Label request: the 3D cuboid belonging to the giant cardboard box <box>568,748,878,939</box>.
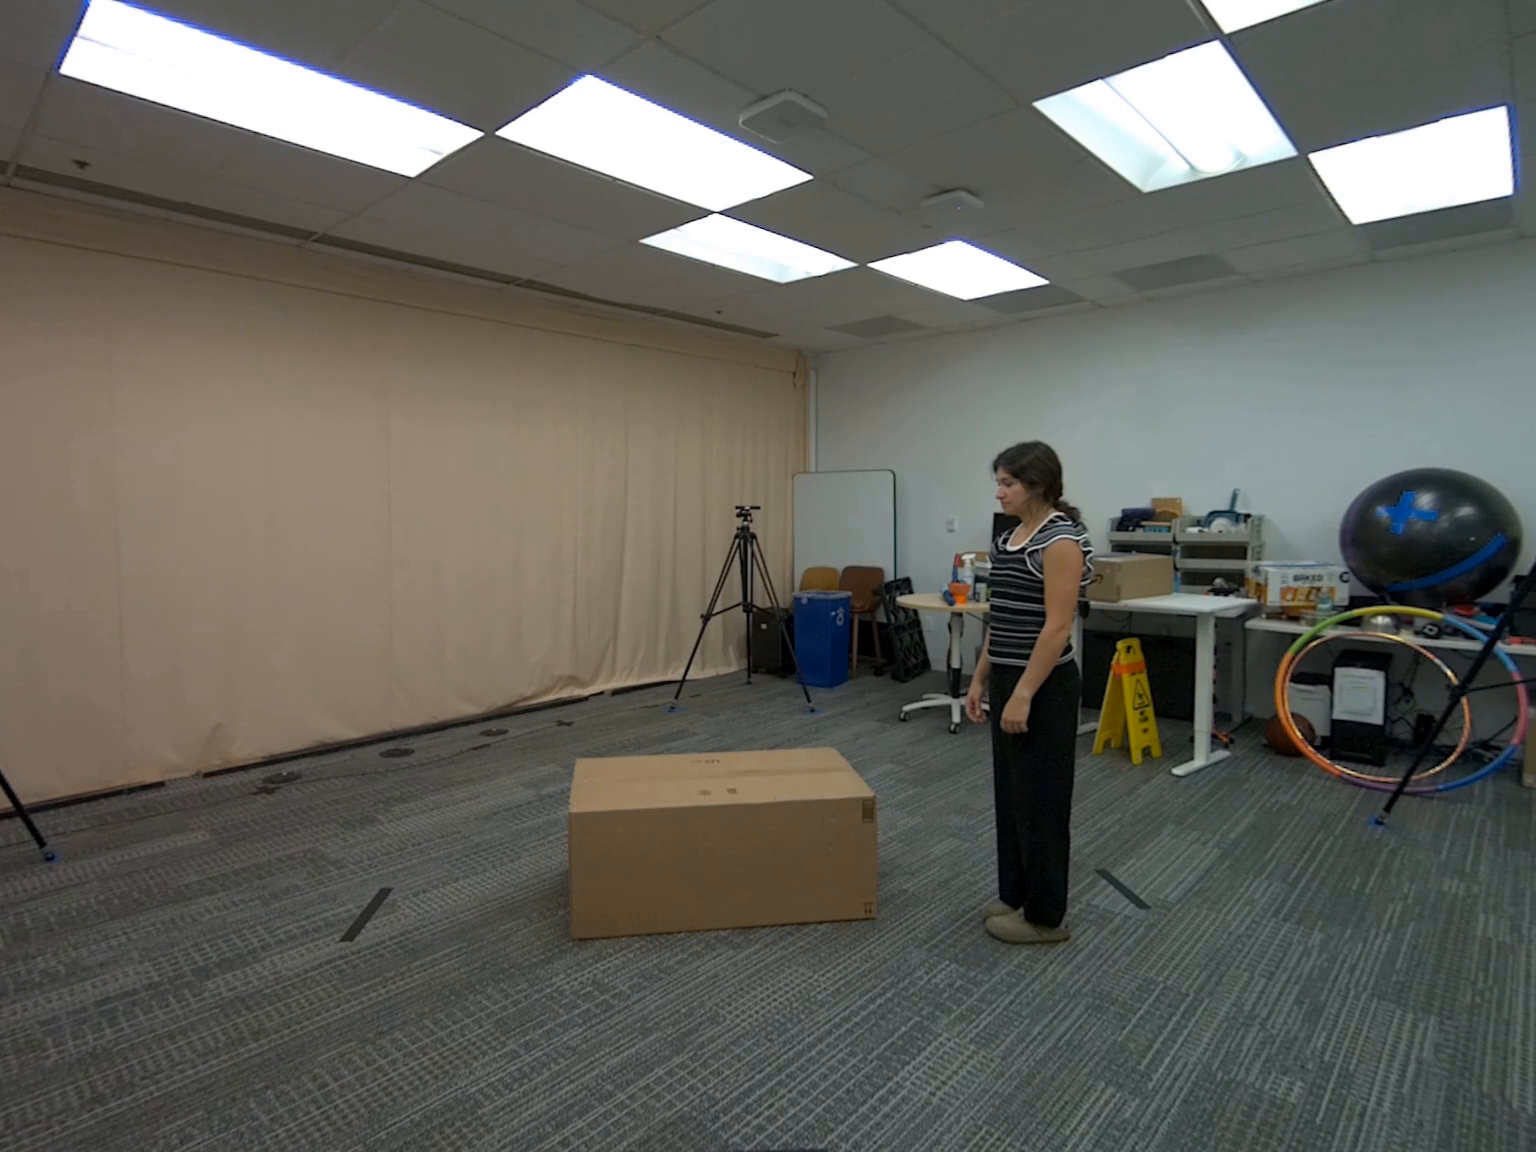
[{"bbox_3d":[-0.186,0.927,3.038,1.018,0.425,0.584,-1,4,-8],"label":"giant cardboard box"}]
